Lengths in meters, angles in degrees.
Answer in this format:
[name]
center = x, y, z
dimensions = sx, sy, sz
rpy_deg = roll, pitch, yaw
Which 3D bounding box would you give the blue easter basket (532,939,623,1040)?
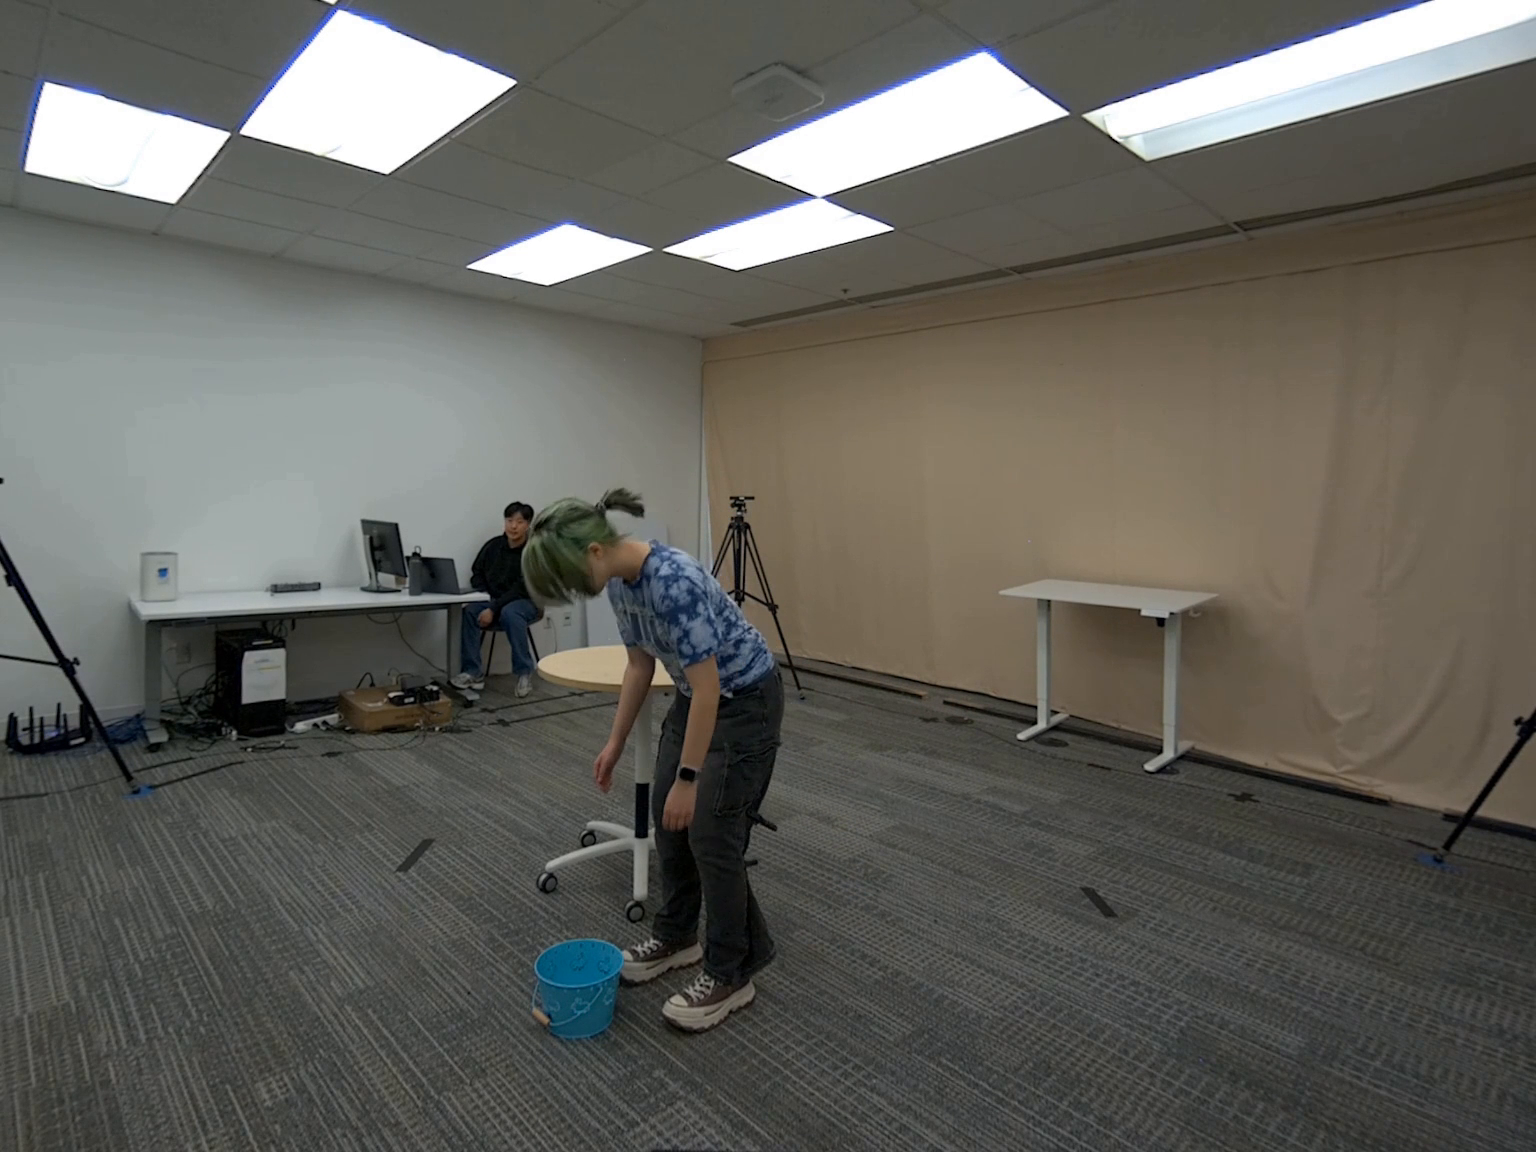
[blue easter basket]
center = -0.512, 1.099, 2.234
dimensions = 0.243, 0.155, 0.244
rpy_deg = 1, 5, -1
